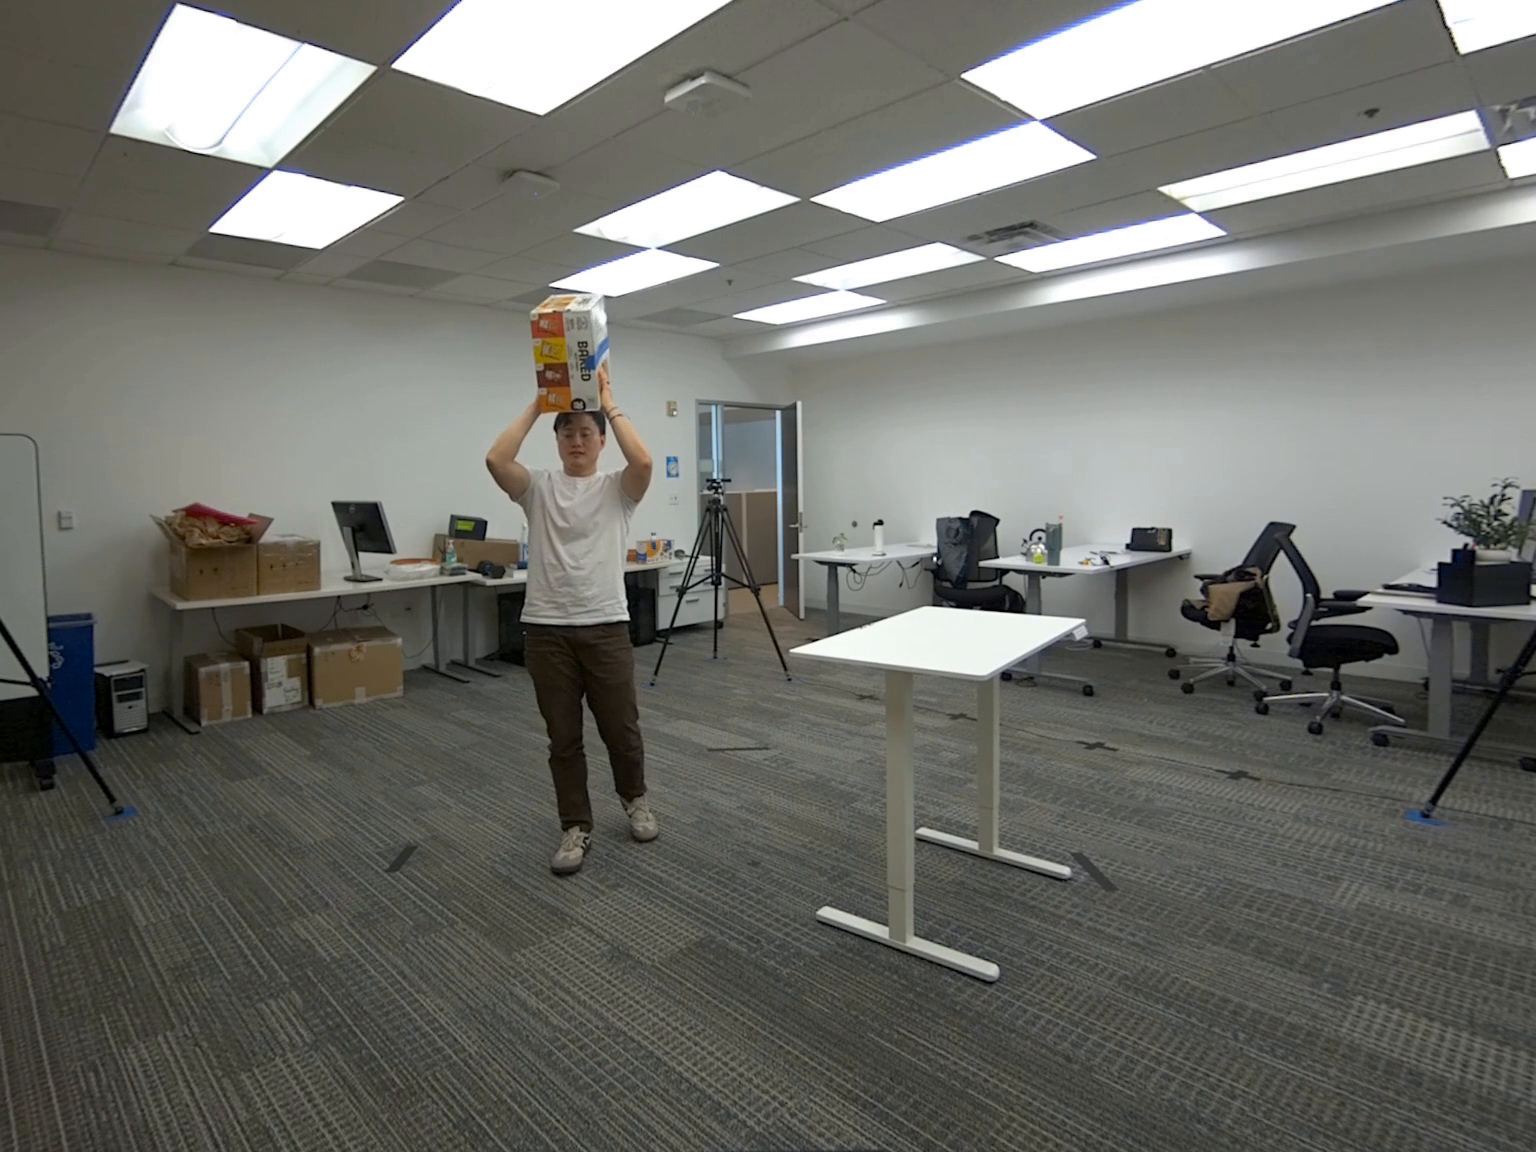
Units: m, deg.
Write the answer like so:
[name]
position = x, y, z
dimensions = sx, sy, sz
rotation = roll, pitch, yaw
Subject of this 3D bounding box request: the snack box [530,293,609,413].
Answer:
[snack box]
position = -0.692, -0.806, 3.047
dimensions = 0.205, 0.333, 0.414
rotation = -2, 26, -2
